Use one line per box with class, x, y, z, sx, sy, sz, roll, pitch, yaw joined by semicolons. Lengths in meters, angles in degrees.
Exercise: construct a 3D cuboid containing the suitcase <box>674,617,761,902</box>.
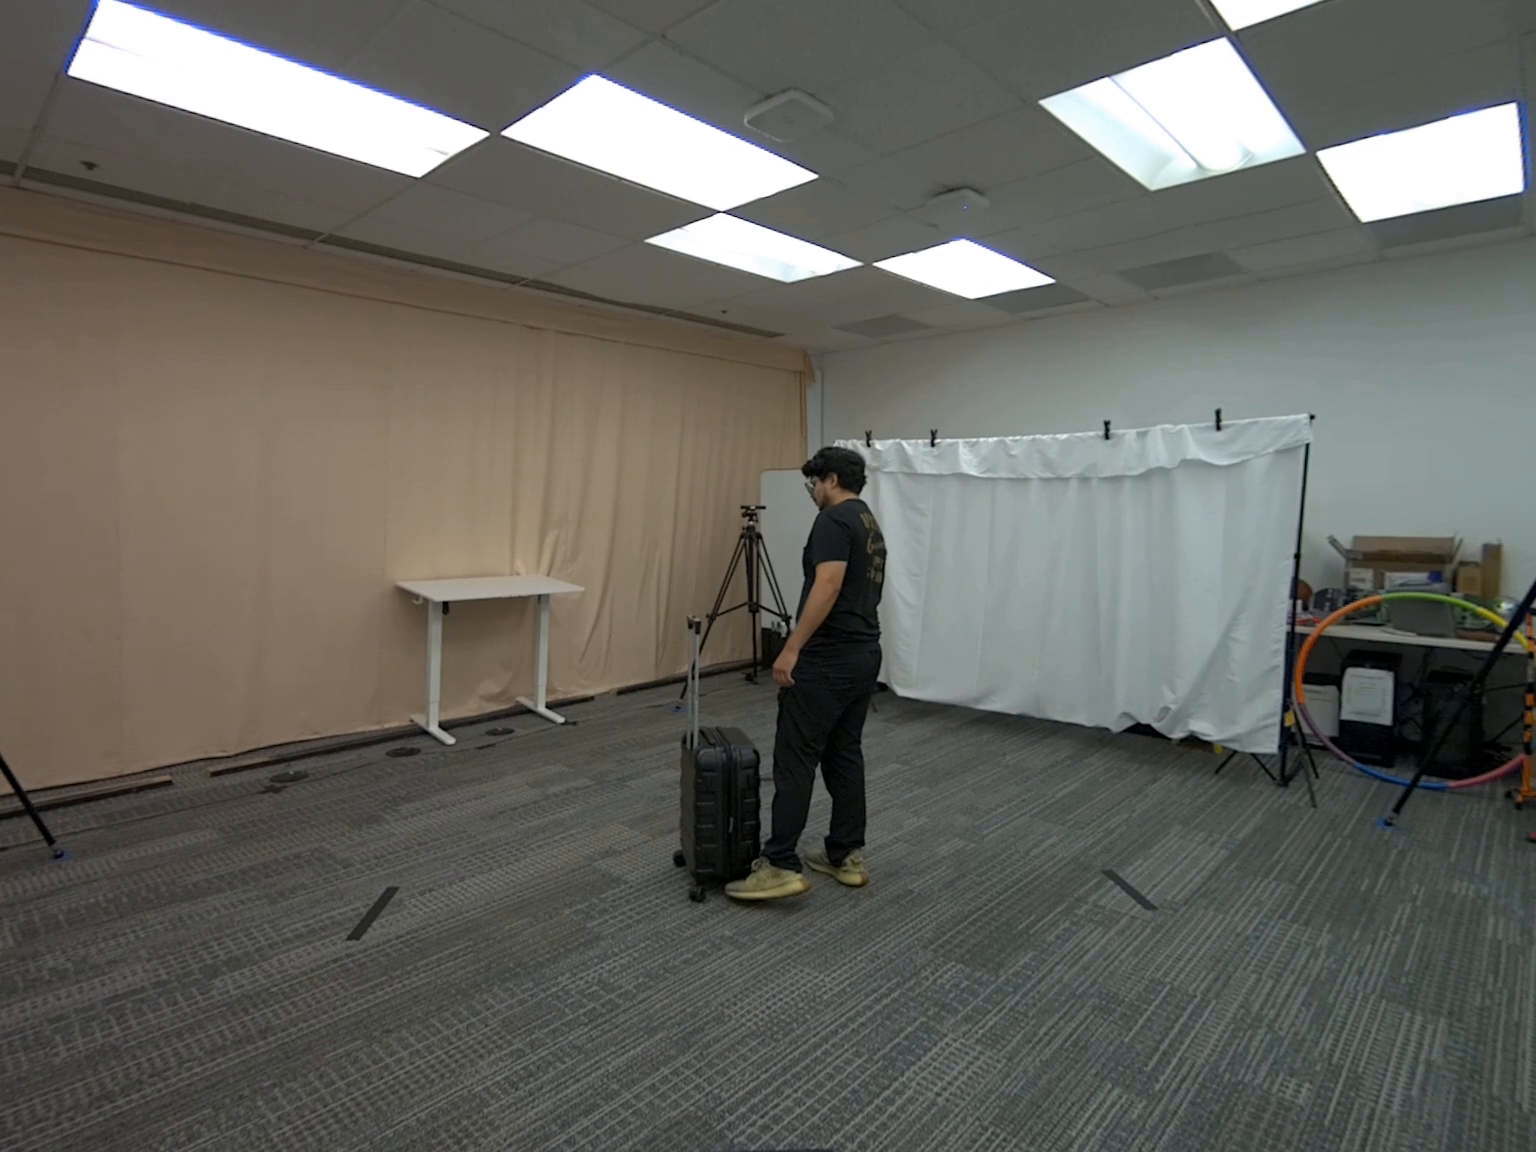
suitcase;-0.175;0.653;3.139;0.254;0.977;0.389;0;2;-12
